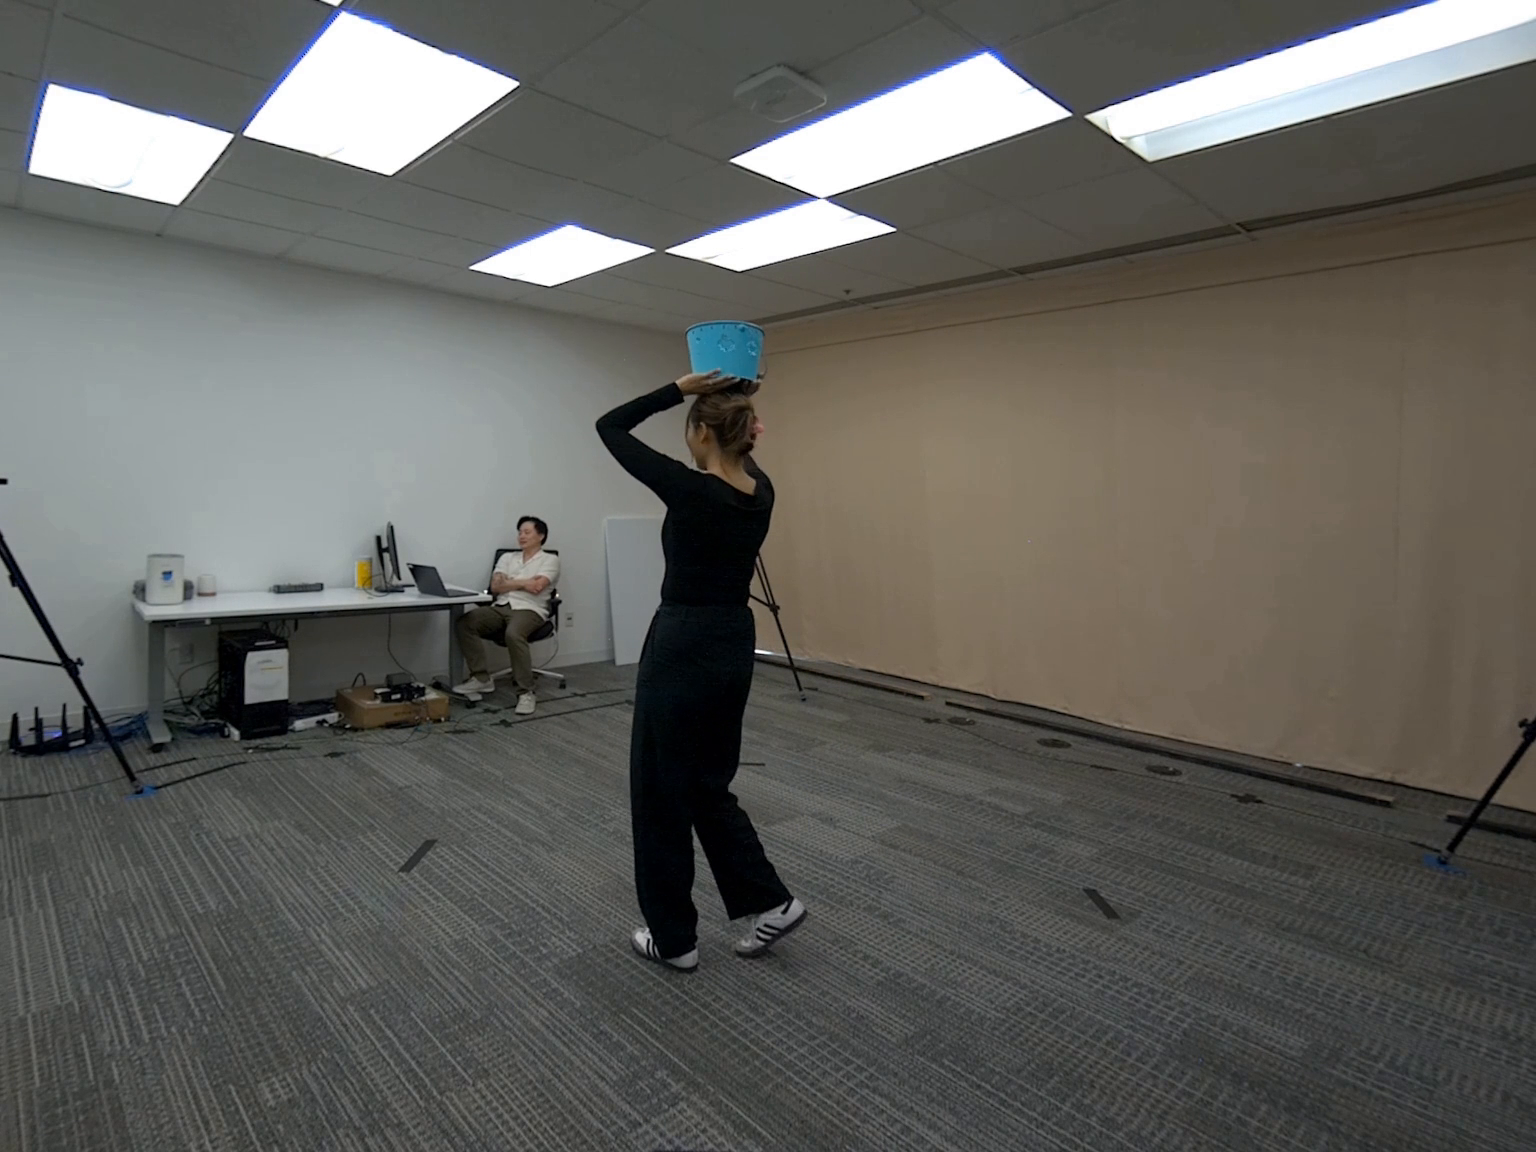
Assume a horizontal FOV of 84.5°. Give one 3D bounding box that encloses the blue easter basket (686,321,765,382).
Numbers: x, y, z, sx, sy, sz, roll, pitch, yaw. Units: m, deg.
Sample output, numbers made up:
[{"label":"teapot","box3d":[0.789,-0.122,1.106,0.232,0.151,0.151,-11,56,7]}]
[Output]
[{"label":"blue easter basket","box3d":[-0.118,-0.637,2.441,0.243,0.156,0.243,0,0,-1]}]
